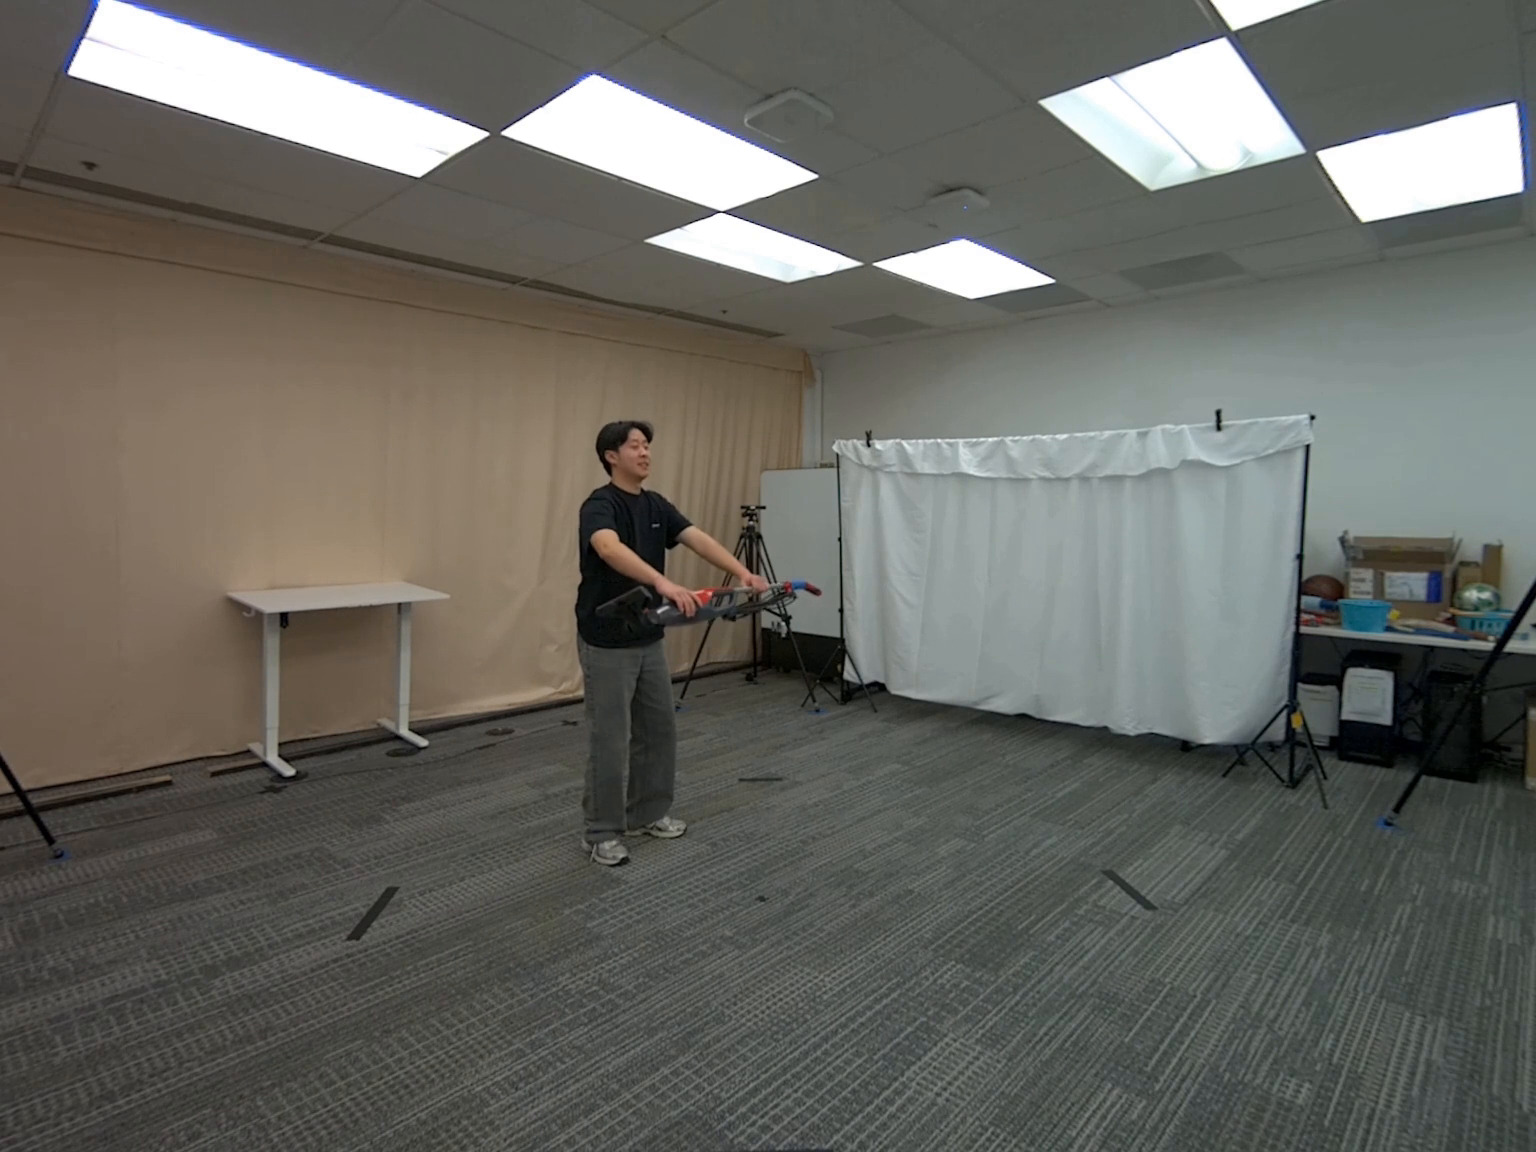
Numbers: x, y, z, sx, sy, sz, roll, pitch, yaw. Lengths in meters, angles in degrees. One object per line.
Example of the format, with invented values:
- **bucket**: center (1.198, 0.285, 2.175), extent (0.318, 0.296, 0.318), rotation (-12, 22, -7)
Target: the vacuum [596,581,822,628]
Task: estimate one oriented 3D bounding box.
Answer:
- **vacuum**: center (-0.130, 0.102, 3.167), extent (0.258, 0.145, 1.017), rotation (-25, -13, 40)
